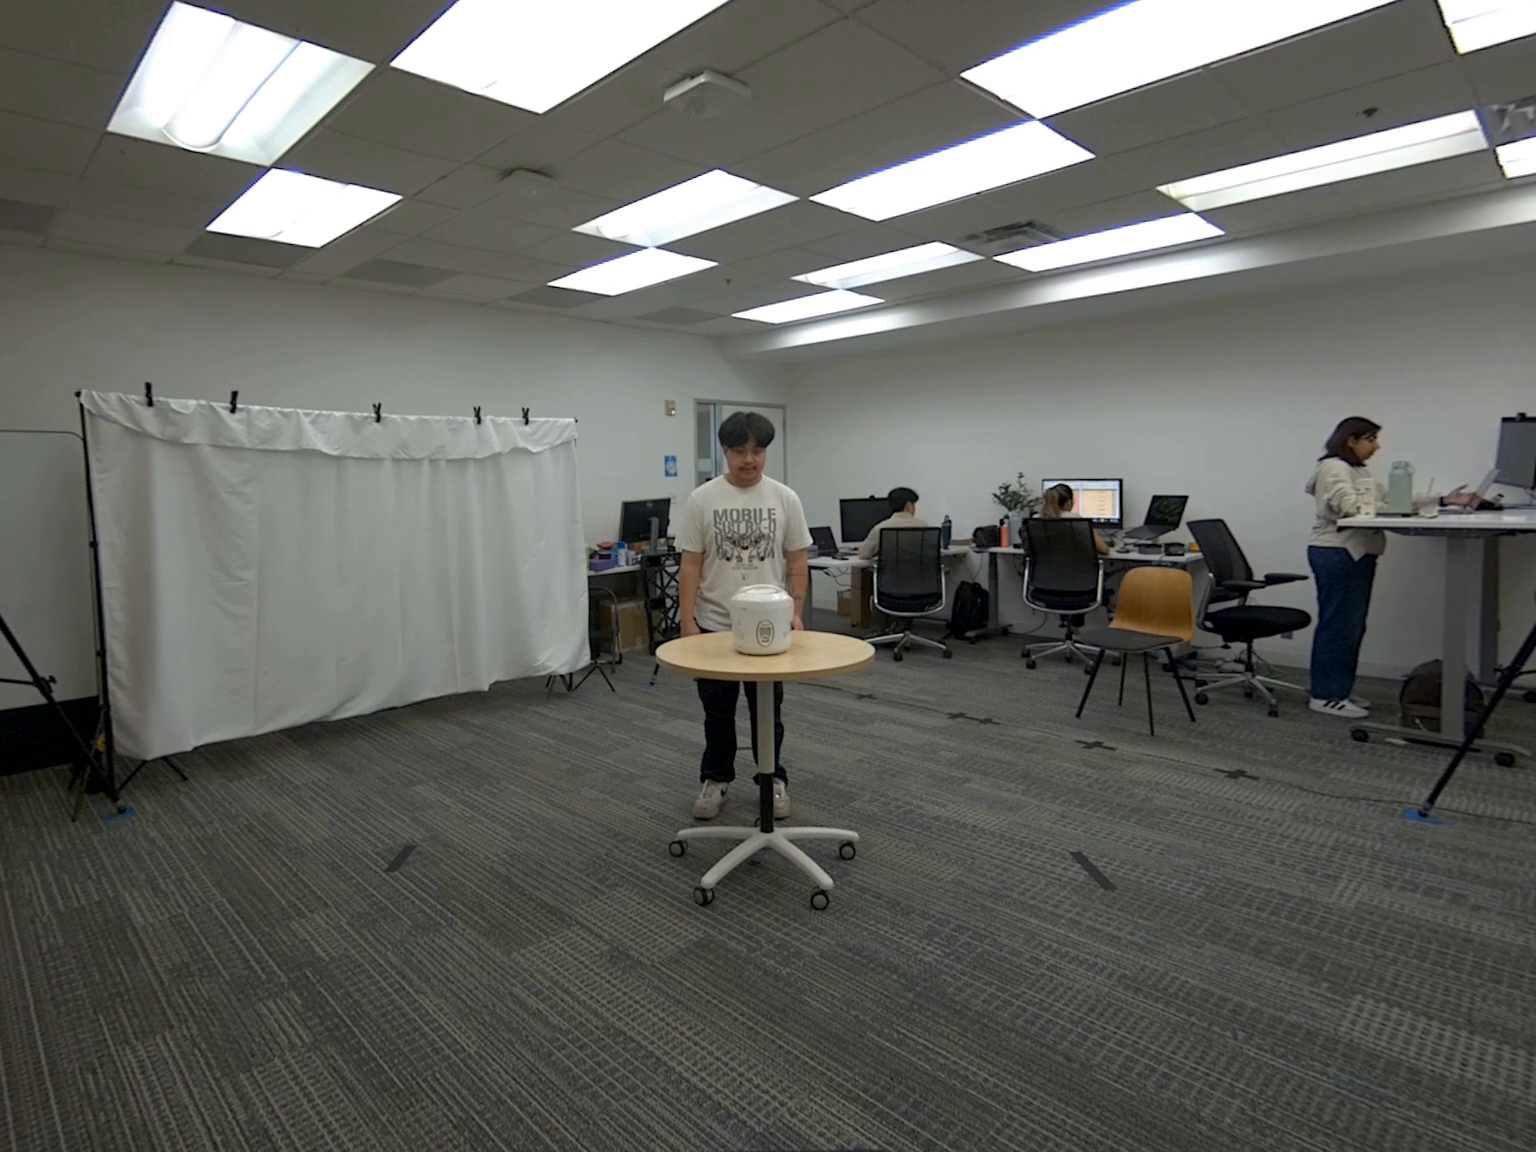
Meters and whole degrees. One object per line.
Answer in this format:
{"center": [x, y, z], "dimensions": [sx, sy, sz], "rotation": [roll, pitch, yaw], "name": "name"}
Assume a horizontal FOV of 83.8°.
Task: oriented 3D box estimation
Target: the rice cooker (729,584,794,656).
{"center": [-0.022, 0.144, 2.959], "dimensions": [0.220, 0.232, 0.219], "rotation": [-2, 6, -5], "name": "rice cooker"}
